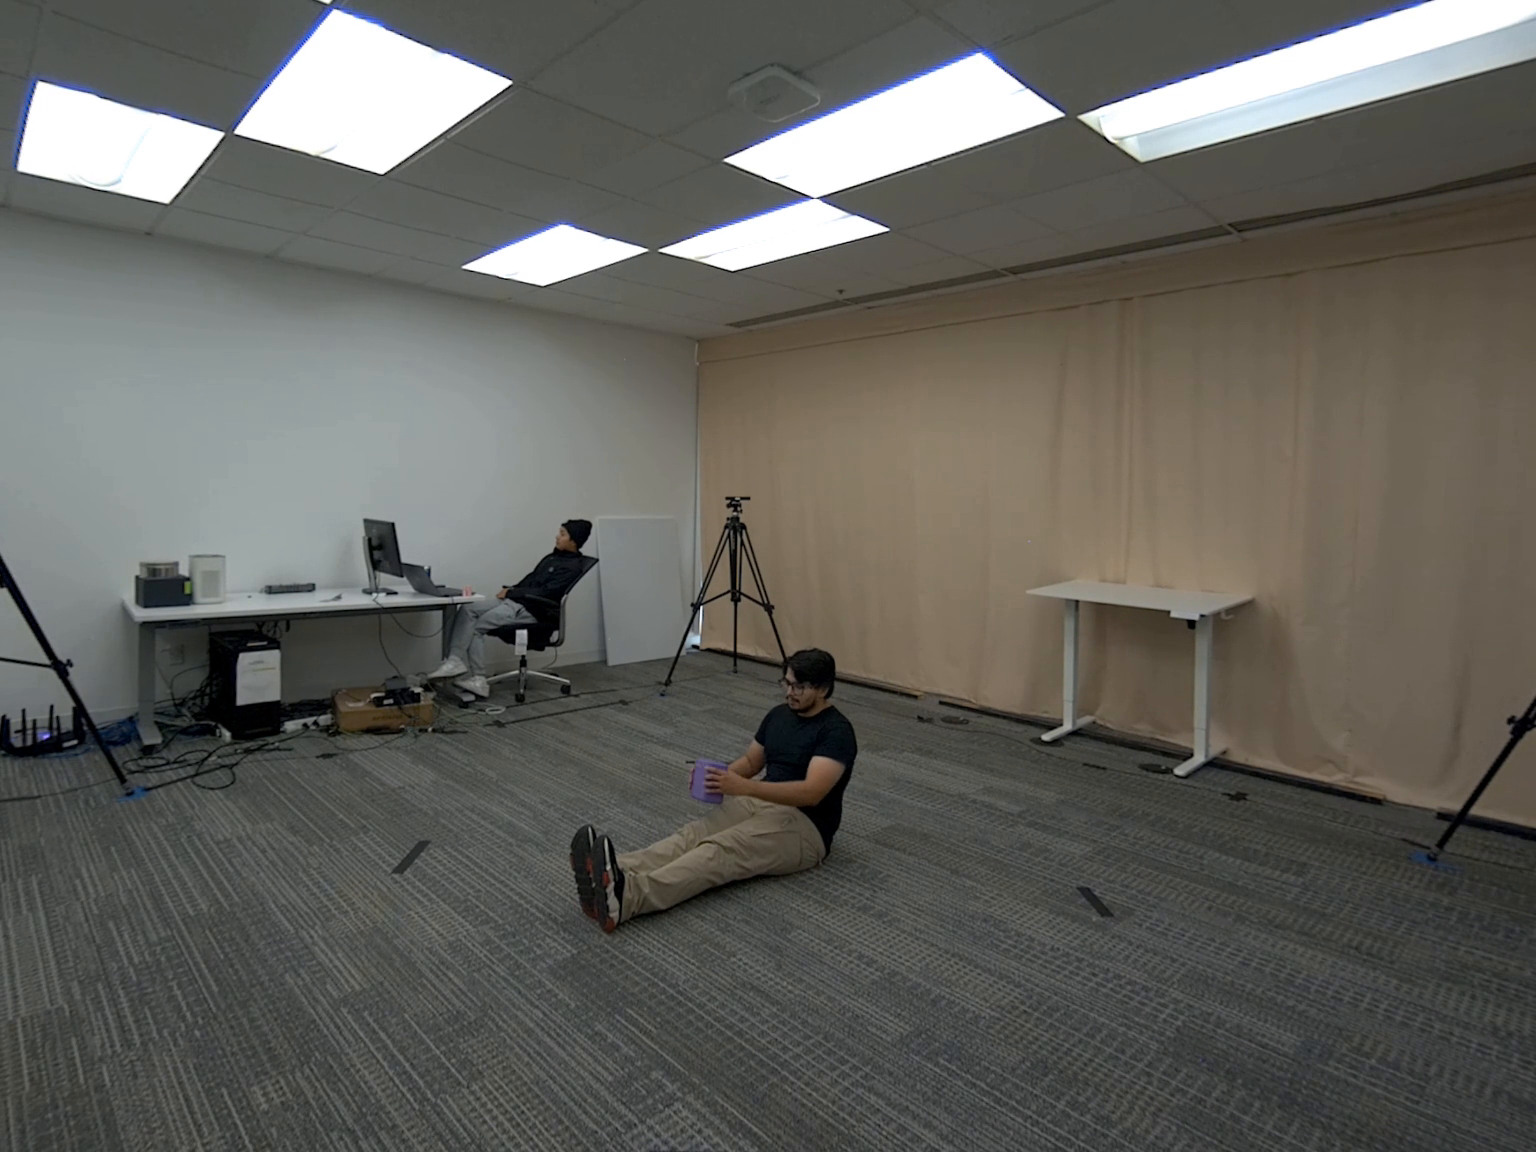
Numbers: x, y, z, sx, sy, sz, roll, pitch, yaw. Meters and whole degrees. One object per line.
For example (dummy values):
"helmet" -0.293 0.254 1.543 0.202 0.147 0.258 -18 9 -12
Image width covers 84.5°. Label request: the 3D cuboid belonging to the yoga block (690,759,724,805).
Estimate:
"yoga block" -0.223 0.781 3.211 0.075 0.150 0.230 9 -10 -14
